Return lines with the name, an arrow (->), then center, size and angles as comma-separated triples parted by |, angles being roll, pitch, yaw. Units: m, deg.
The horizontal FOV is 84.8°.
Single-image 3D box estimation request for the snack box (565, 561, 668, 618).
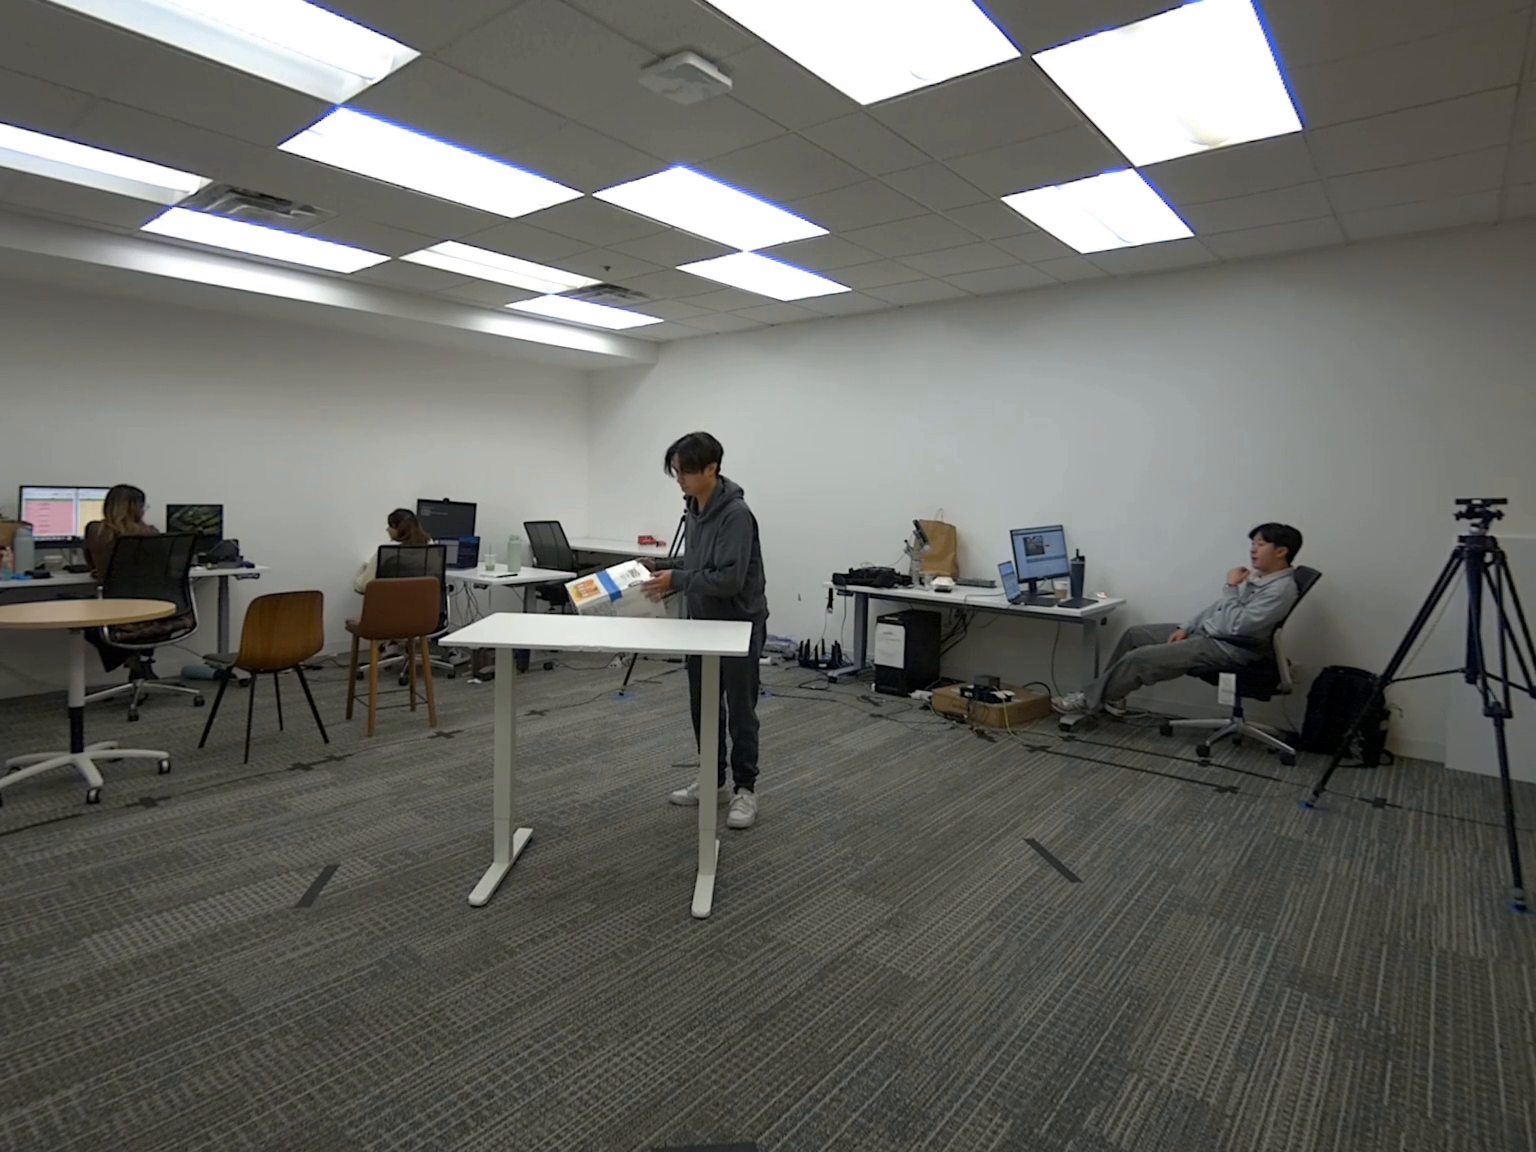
snack box -> -0.667, 0.114, 3.646 | 0.337, 0.202, 0.417 | -20, 17, -14
